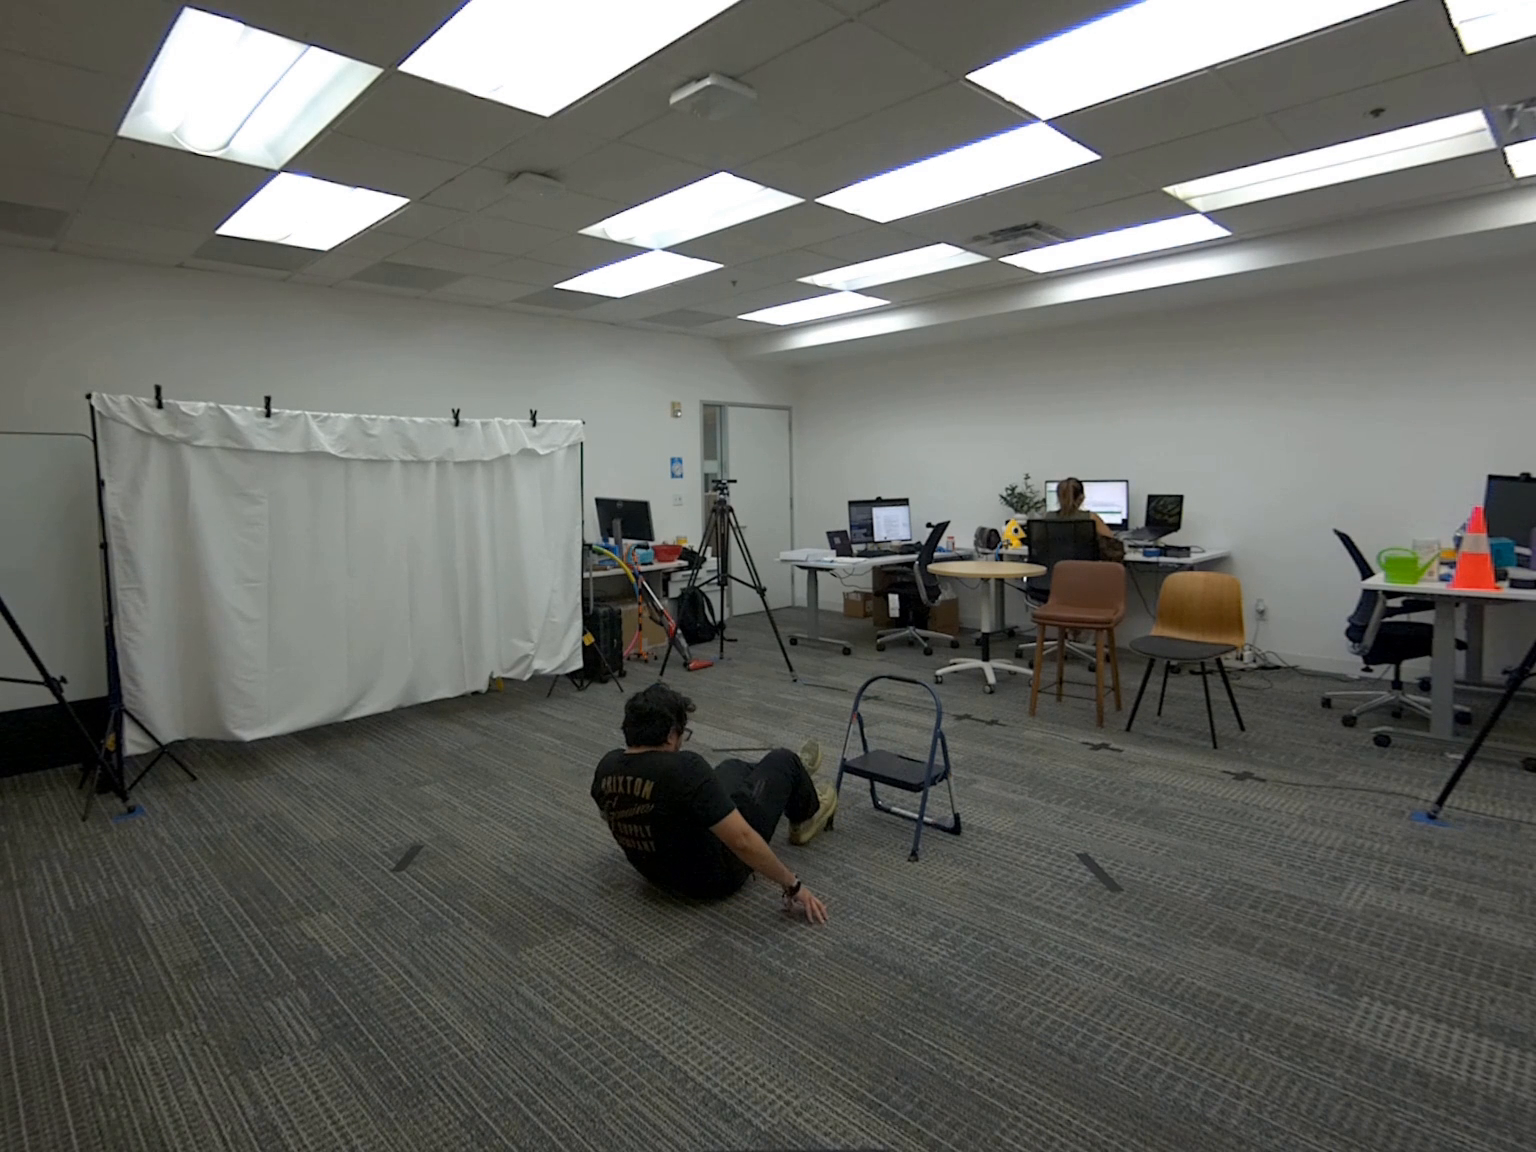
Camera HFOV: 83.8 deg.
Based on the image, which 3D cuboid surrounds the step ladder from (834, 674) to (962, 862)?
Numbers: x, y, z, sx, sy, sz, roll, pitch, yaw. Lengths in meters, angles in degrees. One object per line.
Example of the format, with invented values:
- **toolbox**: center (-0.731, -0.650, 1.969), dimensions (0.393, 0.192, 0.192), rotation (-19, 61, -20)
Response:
- **step ladder**: center (0.493, 0.708, 3.353), dimensions (0.444, 0.604, 0.340), rotation (4, 6, 44)
